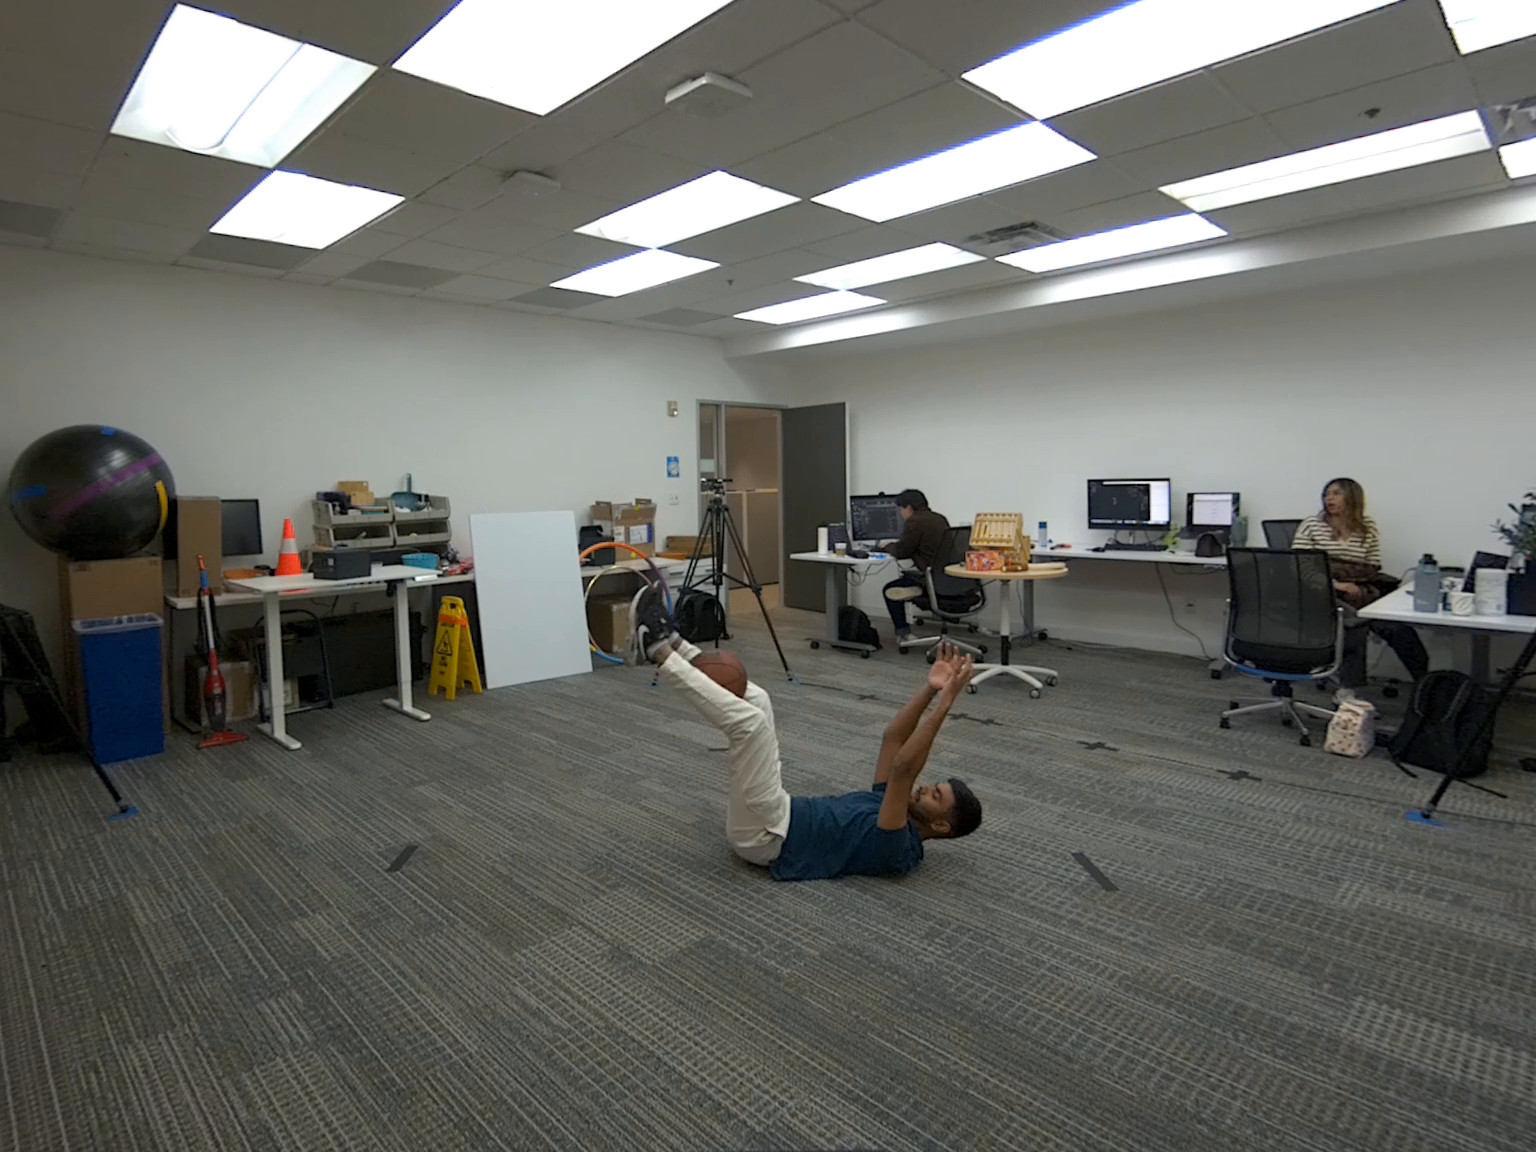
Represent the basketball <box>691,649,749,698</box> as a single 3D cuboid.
[{"bbox_3d":[-0.200,0.397,3.159,0.236,0.235,0.237,-1,5,-2],"label":"basketball"}]
